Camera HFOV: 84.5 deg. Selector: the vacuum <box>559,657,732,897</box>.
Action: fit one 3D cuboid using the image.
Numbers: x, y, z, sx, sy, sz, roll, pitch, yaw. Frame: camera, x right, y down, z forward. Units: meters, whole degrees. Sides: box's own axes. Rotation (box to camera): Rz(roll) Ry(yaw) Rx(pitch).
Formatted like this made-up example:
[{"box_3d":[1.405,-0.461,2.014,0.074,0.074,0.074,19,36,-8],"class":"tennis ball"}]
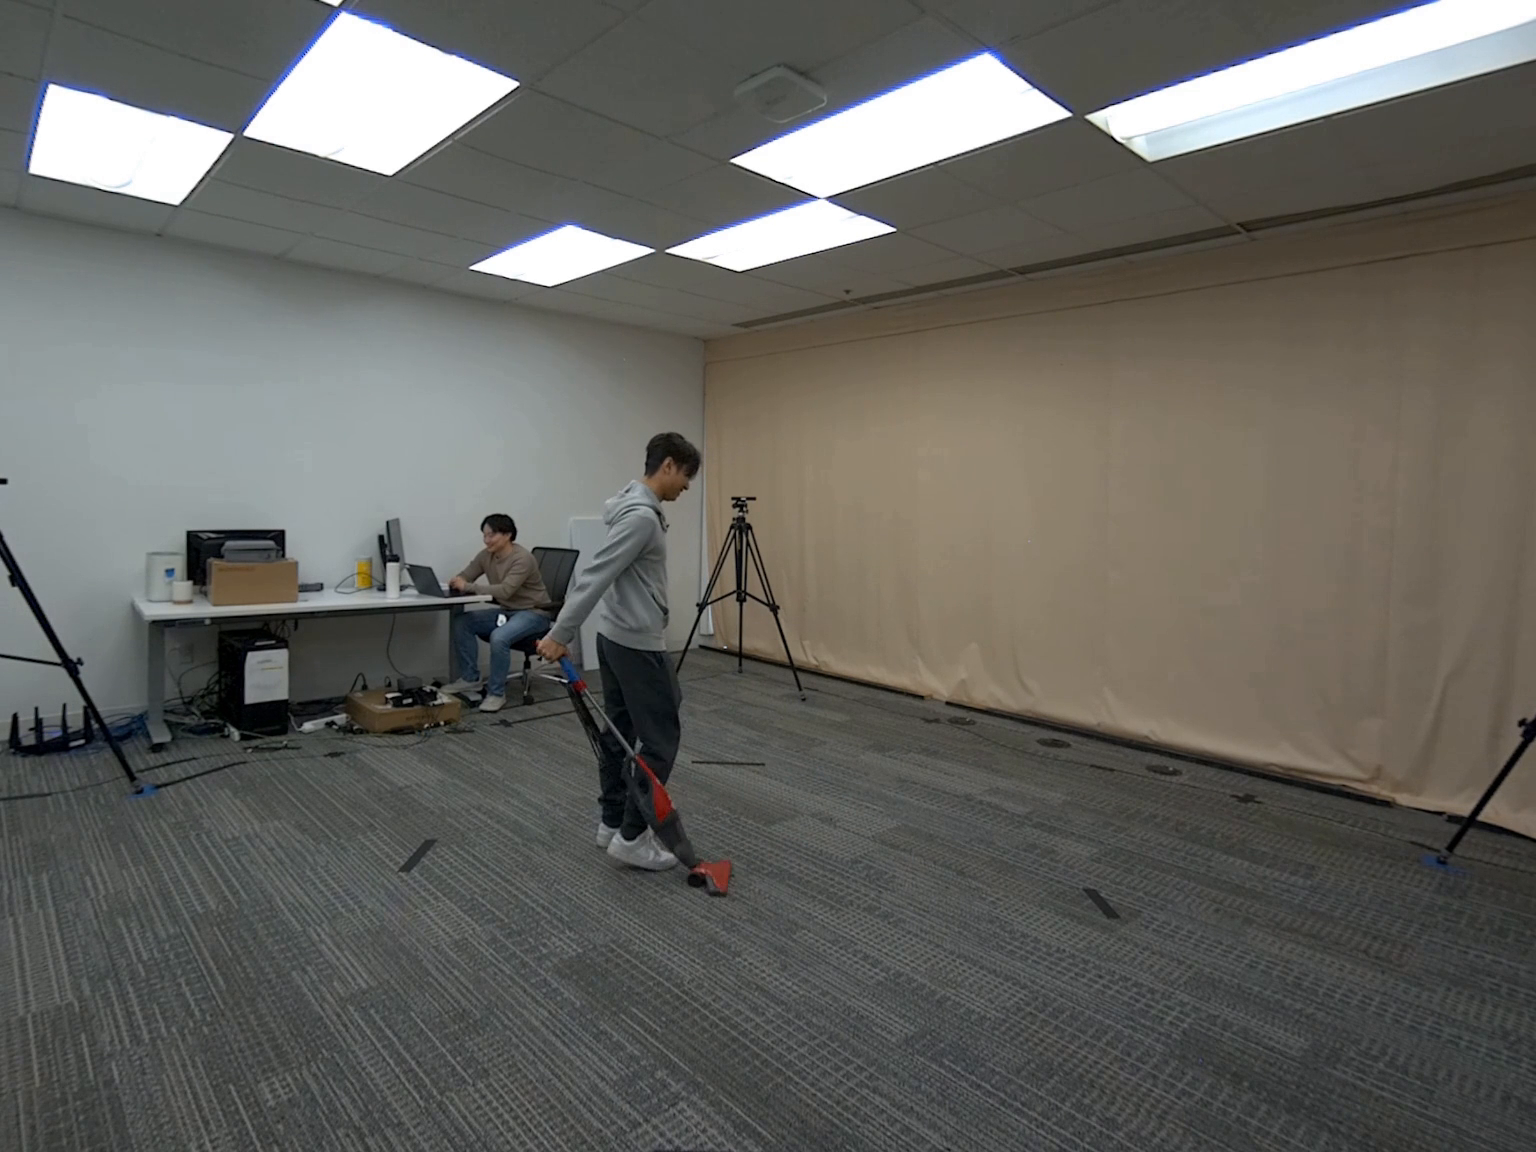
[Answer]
[{"box_3d":[-0.510,0.690,3.052,0.144,1.048,0.253,-37,1,4],"class":"vacuum"}]
